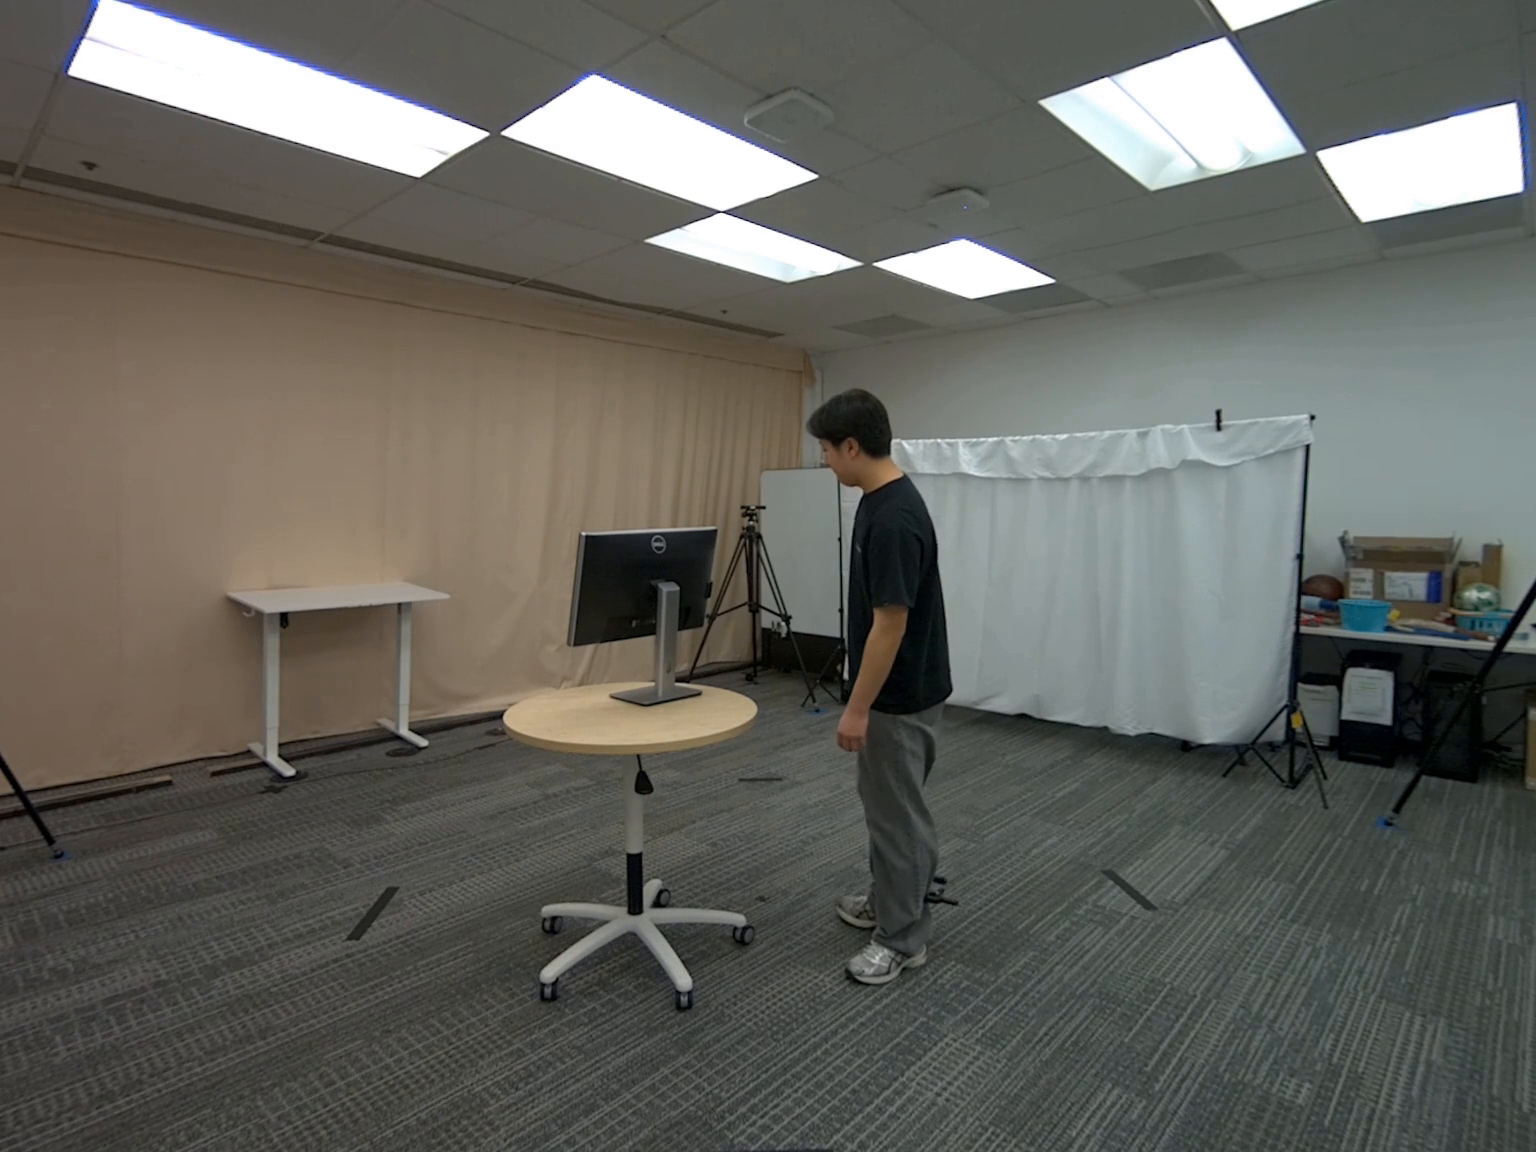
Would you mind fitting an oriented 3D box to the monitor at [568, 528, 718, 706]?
[{"bbox_3d":[-0.345,0.129,2.704,0.217,0.551,0.548,11,11,42],"label":"monitor"}]
